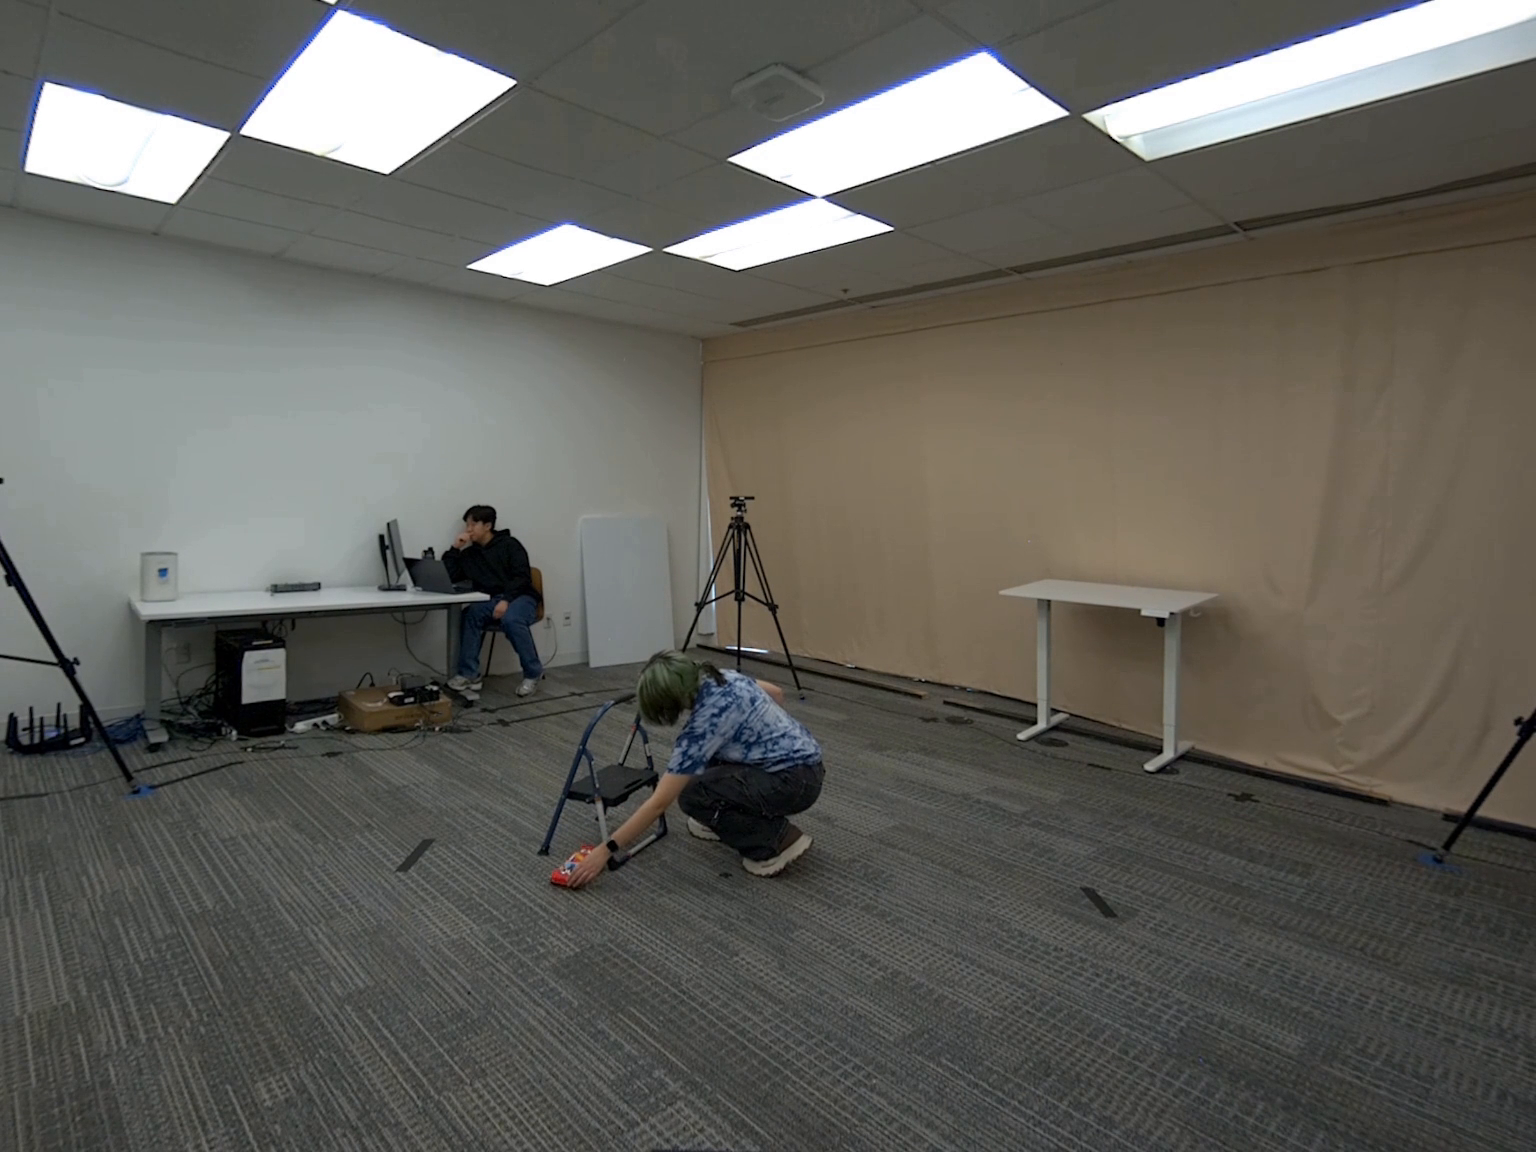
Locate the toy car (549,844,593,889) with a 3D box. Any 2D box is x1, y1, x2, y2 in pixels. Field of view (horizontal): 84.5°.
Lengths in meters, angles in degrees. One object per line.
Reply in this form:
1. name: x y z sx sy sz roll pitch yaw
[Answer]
1. toy car: -0.695 1.064 3.075 0.132 0.082 0.254 1 16 17
